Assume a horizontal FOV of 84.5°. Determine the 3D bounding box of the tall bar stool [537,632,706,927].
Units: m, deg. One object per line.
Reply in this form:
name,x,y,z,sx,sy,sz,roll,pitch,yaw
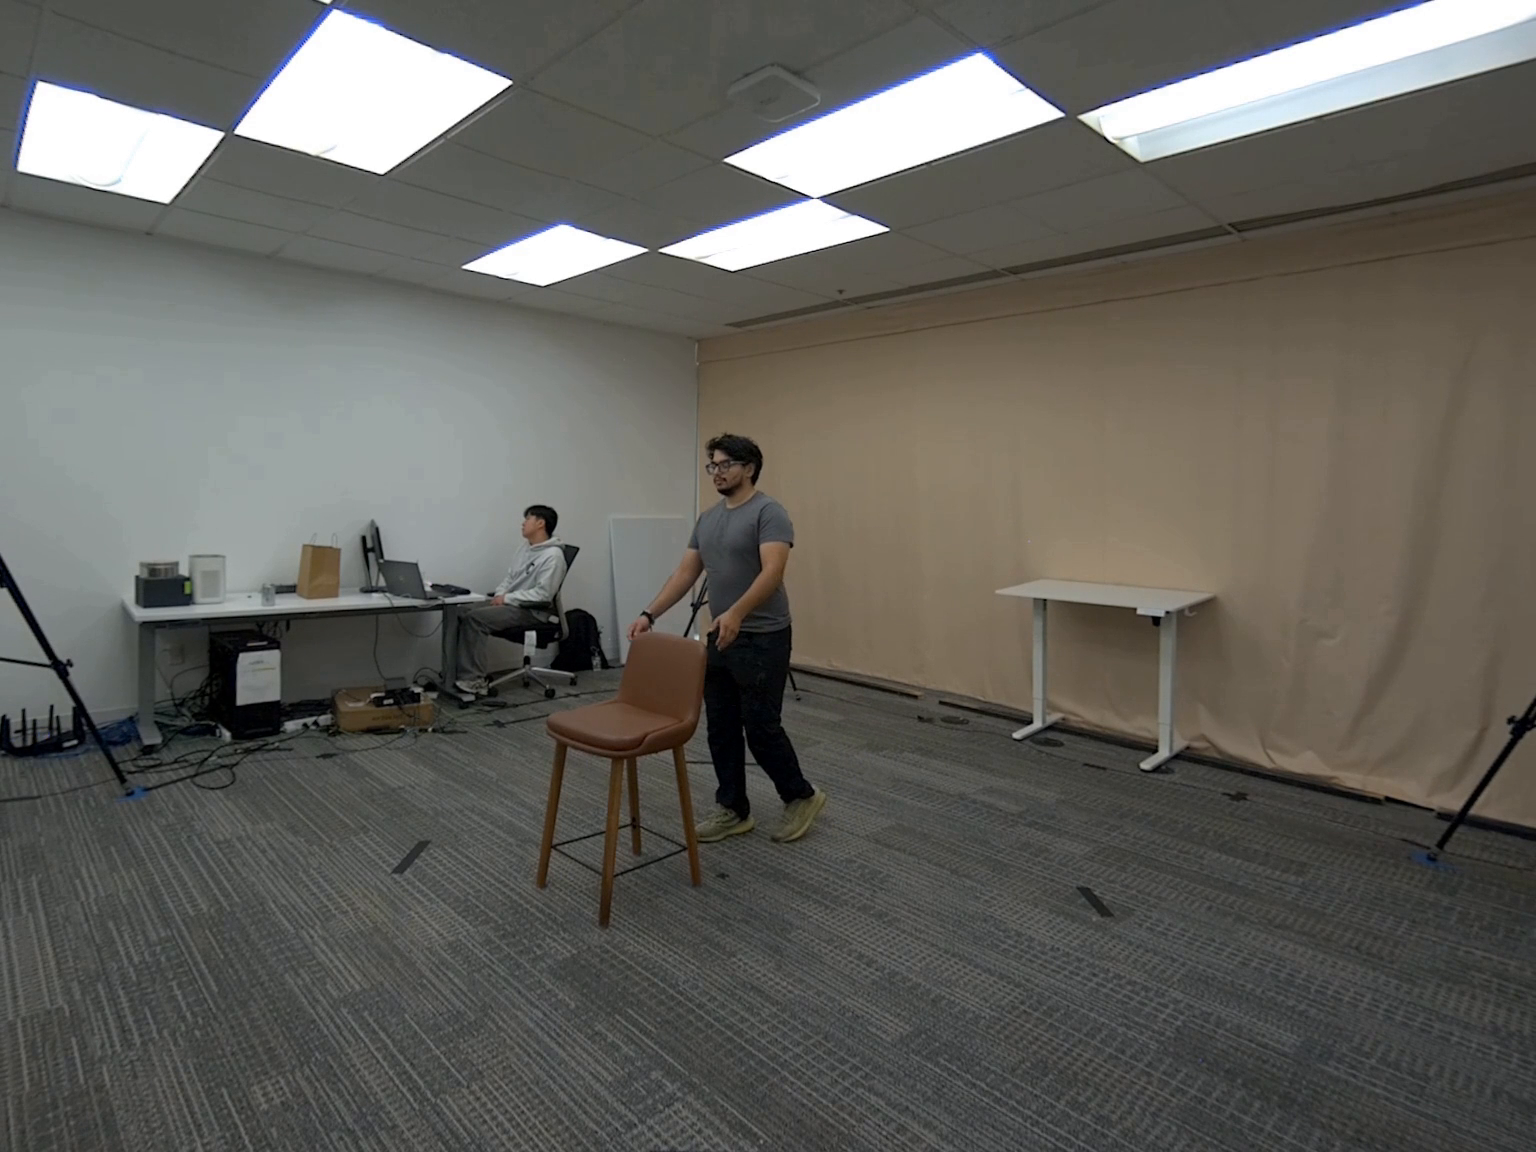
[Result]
tall bar stool,-0.511,0.670,2.988,0.468,0.889,0.456,4,2,44
